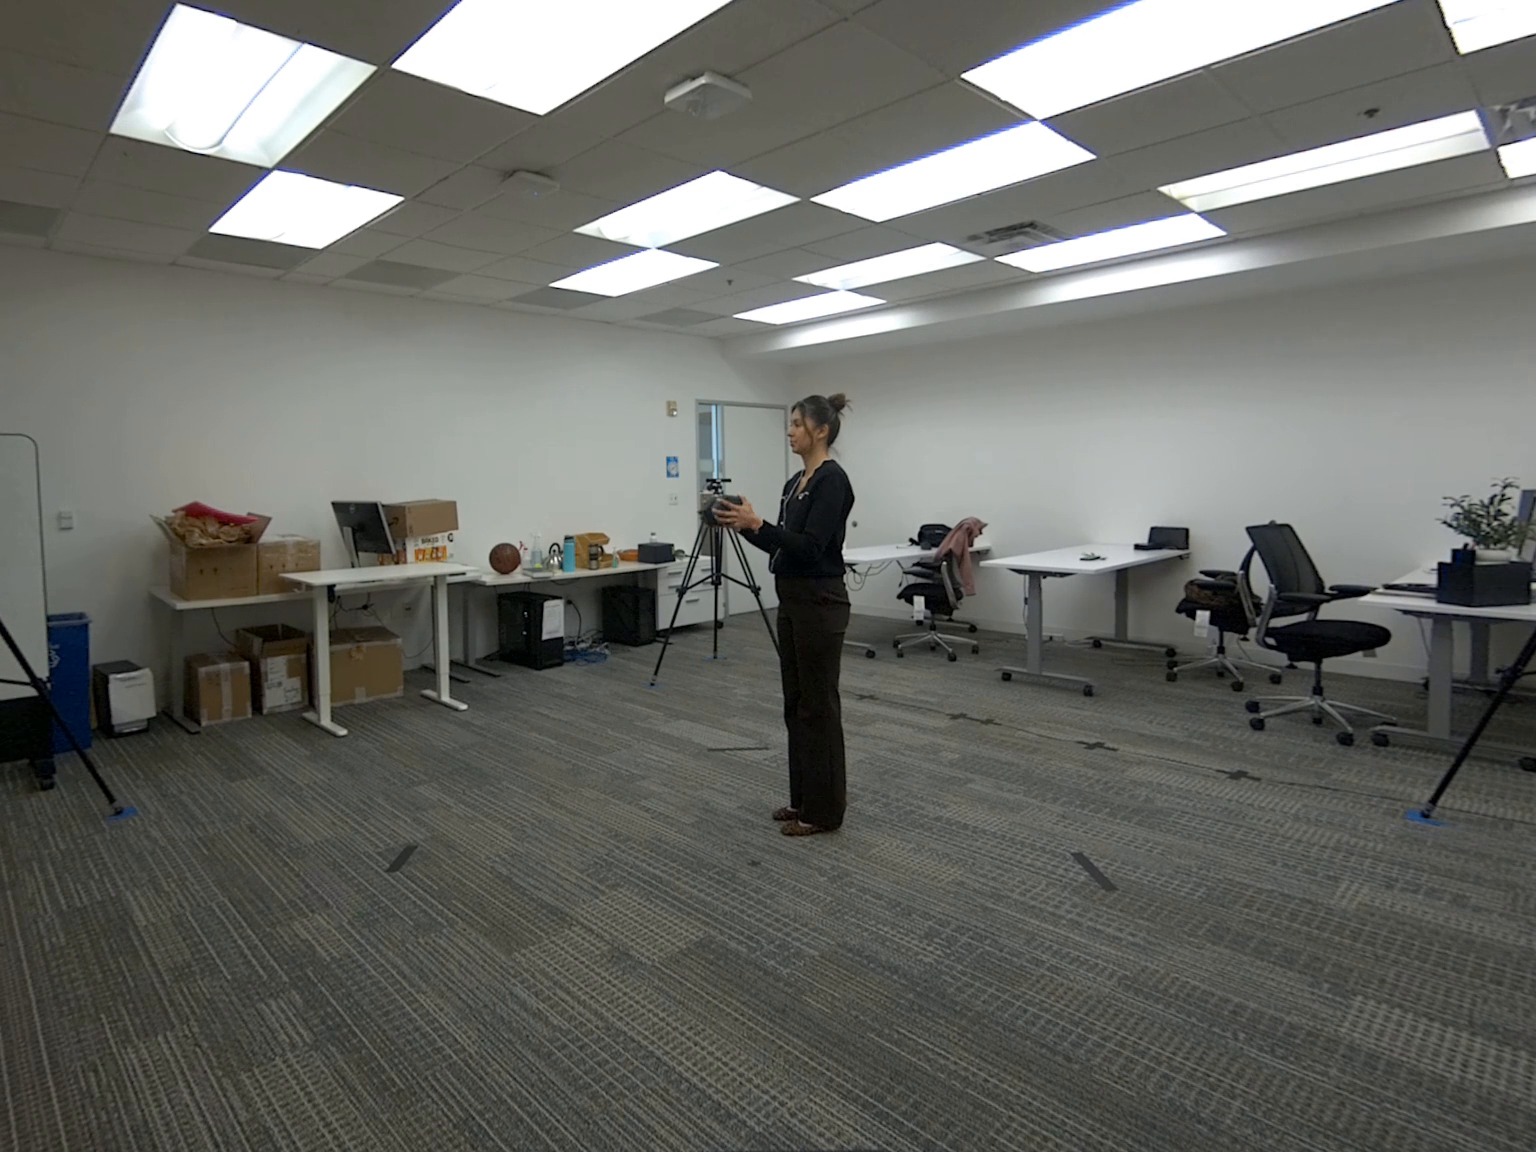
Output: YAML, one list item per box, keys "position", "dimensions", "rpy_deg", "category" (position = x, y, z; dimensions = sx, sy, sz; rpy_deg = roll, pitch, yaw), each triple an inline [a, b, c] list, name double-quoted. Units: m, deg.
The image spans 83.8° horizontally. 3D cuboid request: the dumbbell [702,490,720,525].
- position: [-0.143, -0.252, 3.329]
  dimensions: [0.122, 0.109, 0.296]
  rpy_deg: [1, 0, -11]
  category: "dumbbell"
